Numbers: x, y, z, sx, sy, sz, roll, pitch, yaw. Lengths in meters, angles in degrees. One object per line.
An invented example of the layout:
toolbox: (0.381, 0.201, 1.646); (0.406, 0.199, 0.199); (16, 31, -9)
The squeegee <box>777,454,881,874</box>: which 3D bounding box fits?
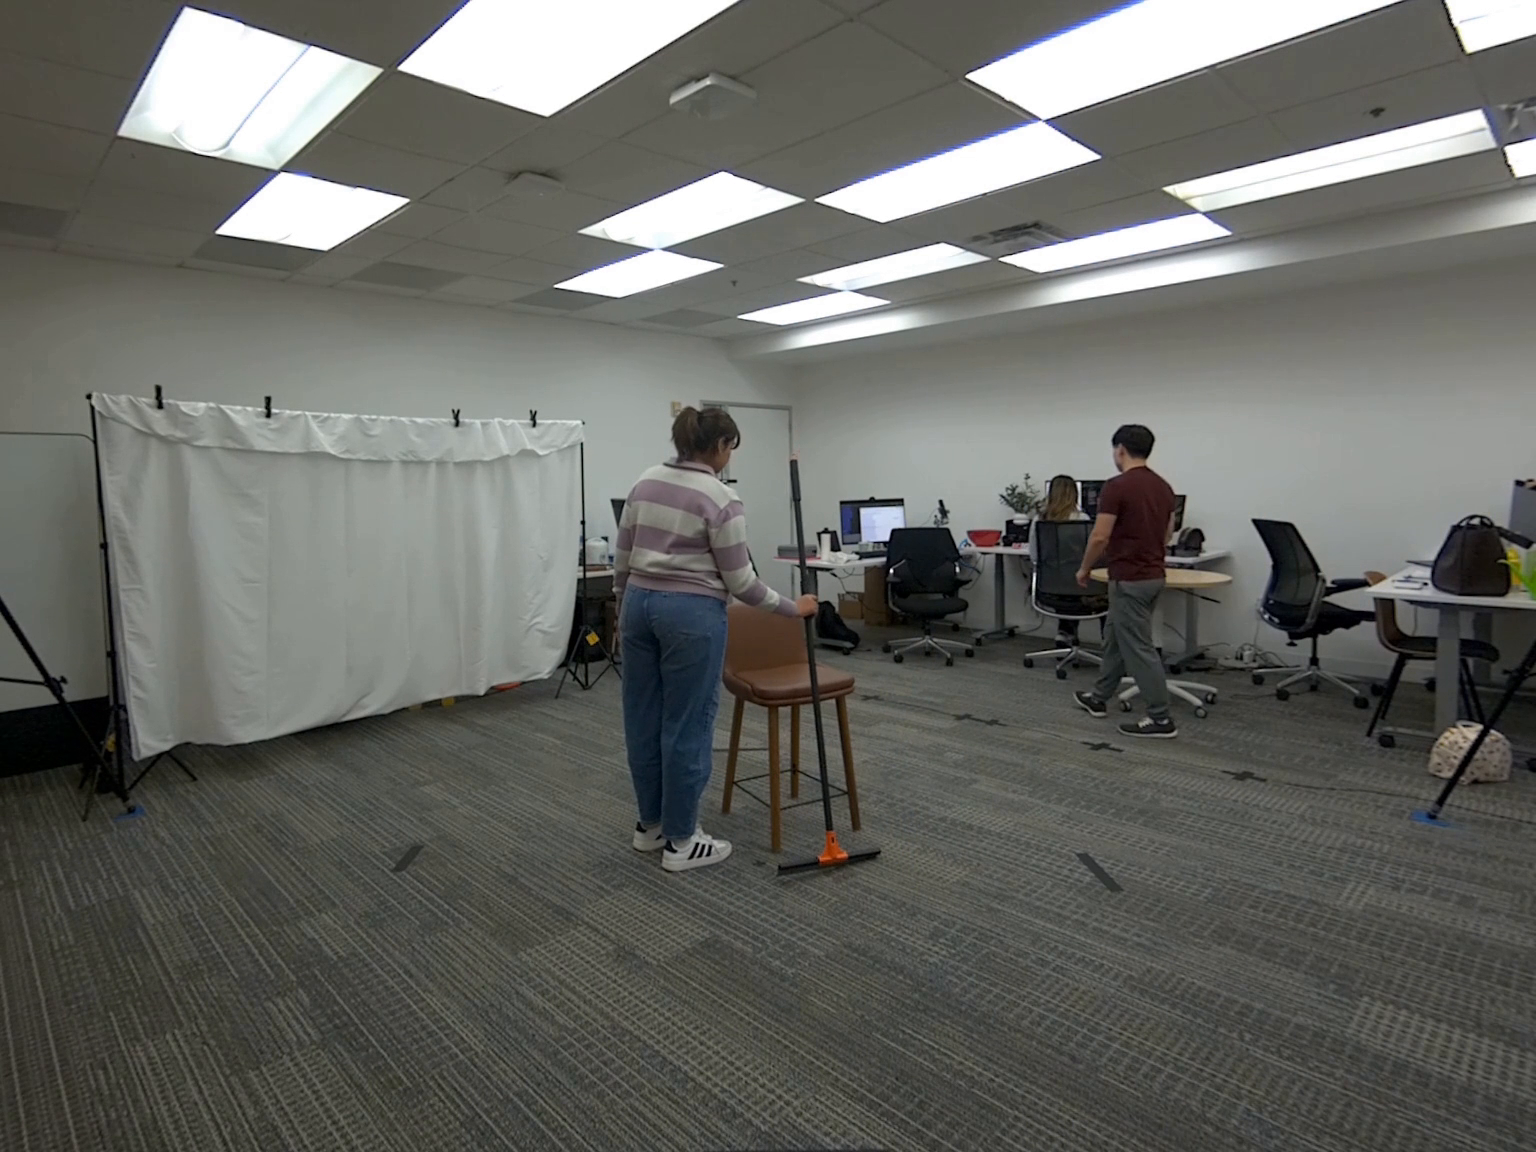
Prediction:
squeegee: (0.179, 0.270, 3.201); (0.426, 1.554, 0.054); (3, -13, -28)
